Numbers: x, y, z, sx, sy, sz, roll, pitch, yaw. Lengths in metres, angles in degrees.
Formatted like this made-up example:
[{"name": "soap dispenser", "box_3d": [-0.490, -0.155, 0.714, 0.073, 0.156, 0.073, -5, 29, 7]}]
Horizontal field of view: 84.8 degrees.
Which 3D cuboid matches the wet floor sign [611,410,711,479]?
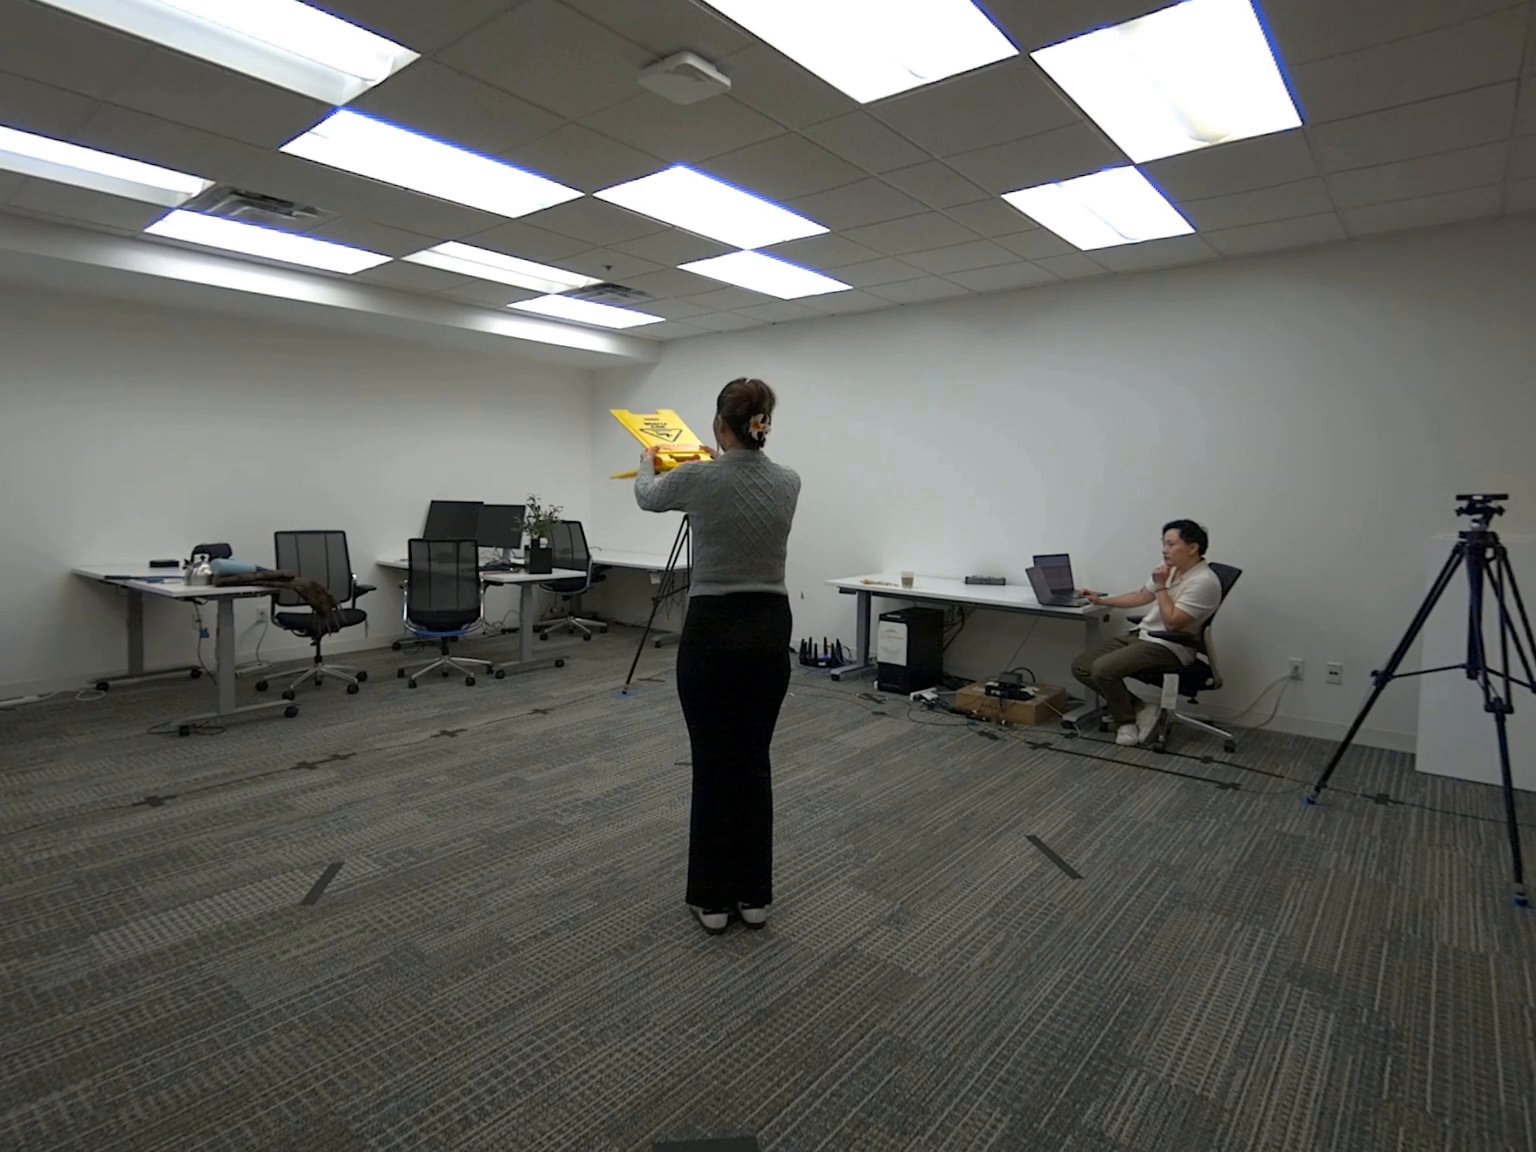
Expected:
[{"name": "wet floor sign", "box_3d": [-0.430, -0.488, 3.360, 0.277, 0.286, 0.667, -2, 15, -21]}]
